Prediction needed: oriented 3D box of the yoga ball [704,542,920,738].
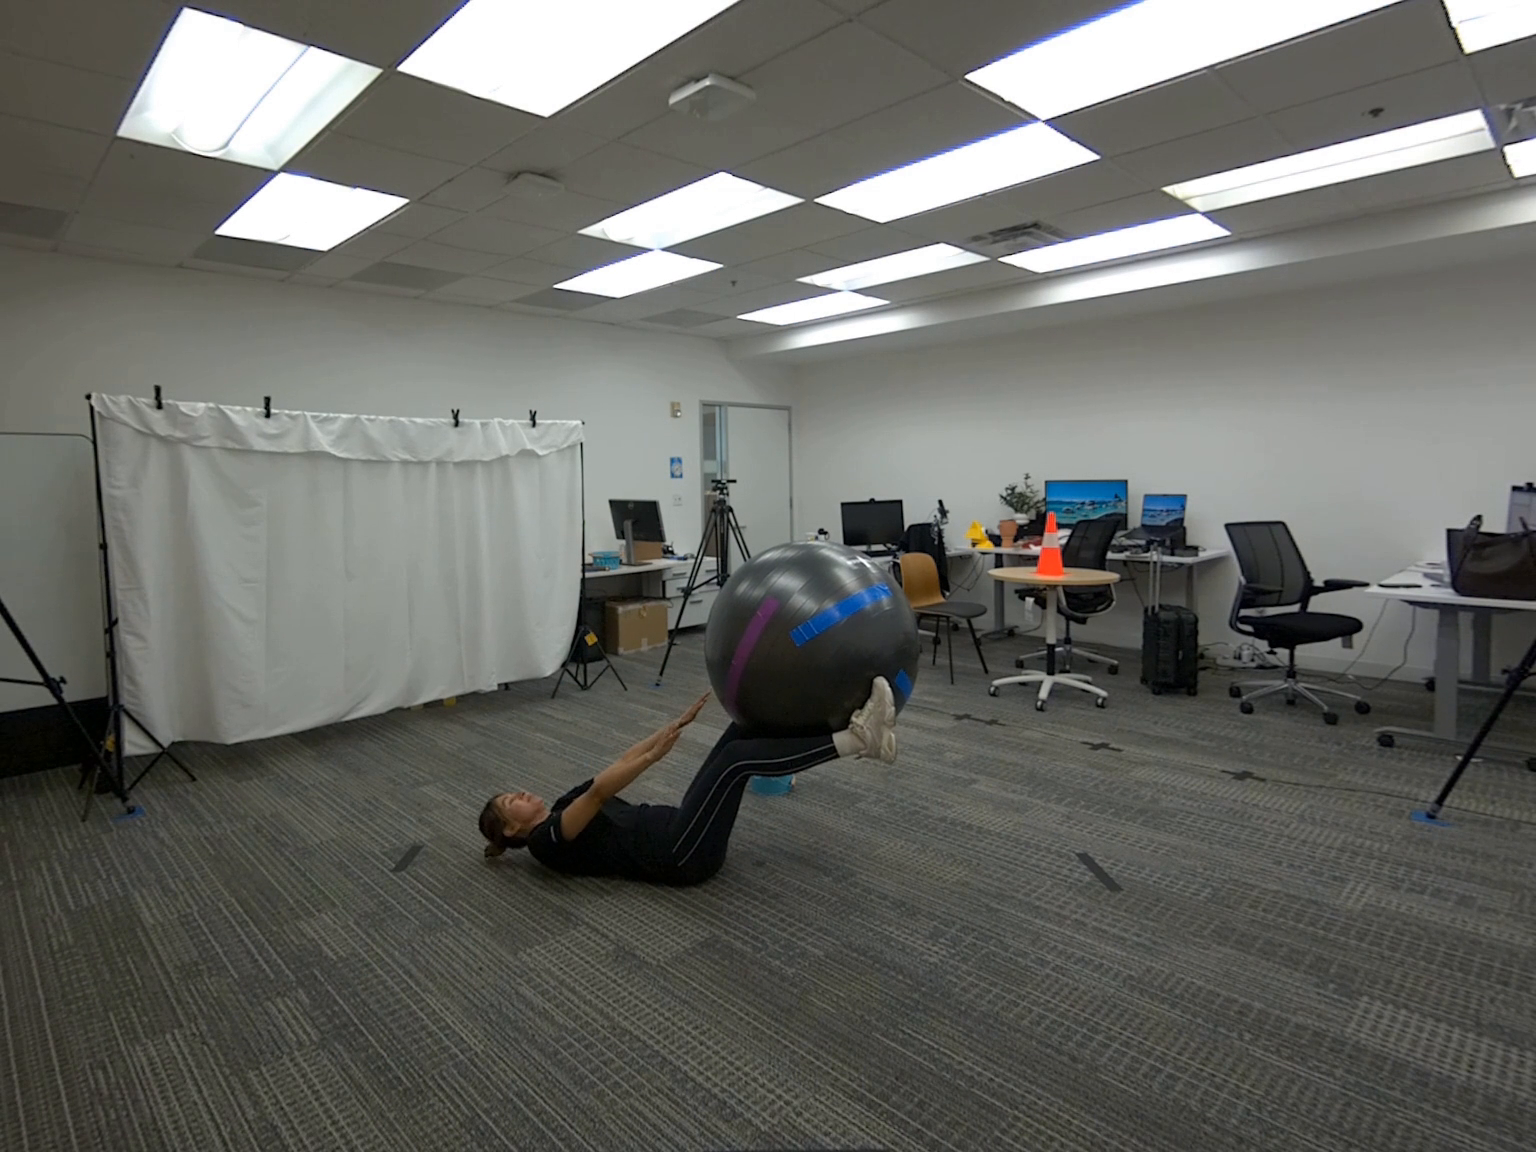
[{"bbox_3d":[0.146,0.254,3.028,0.757,0.755,0.762,-1,5,-2],"label":"yoga ball"}]
